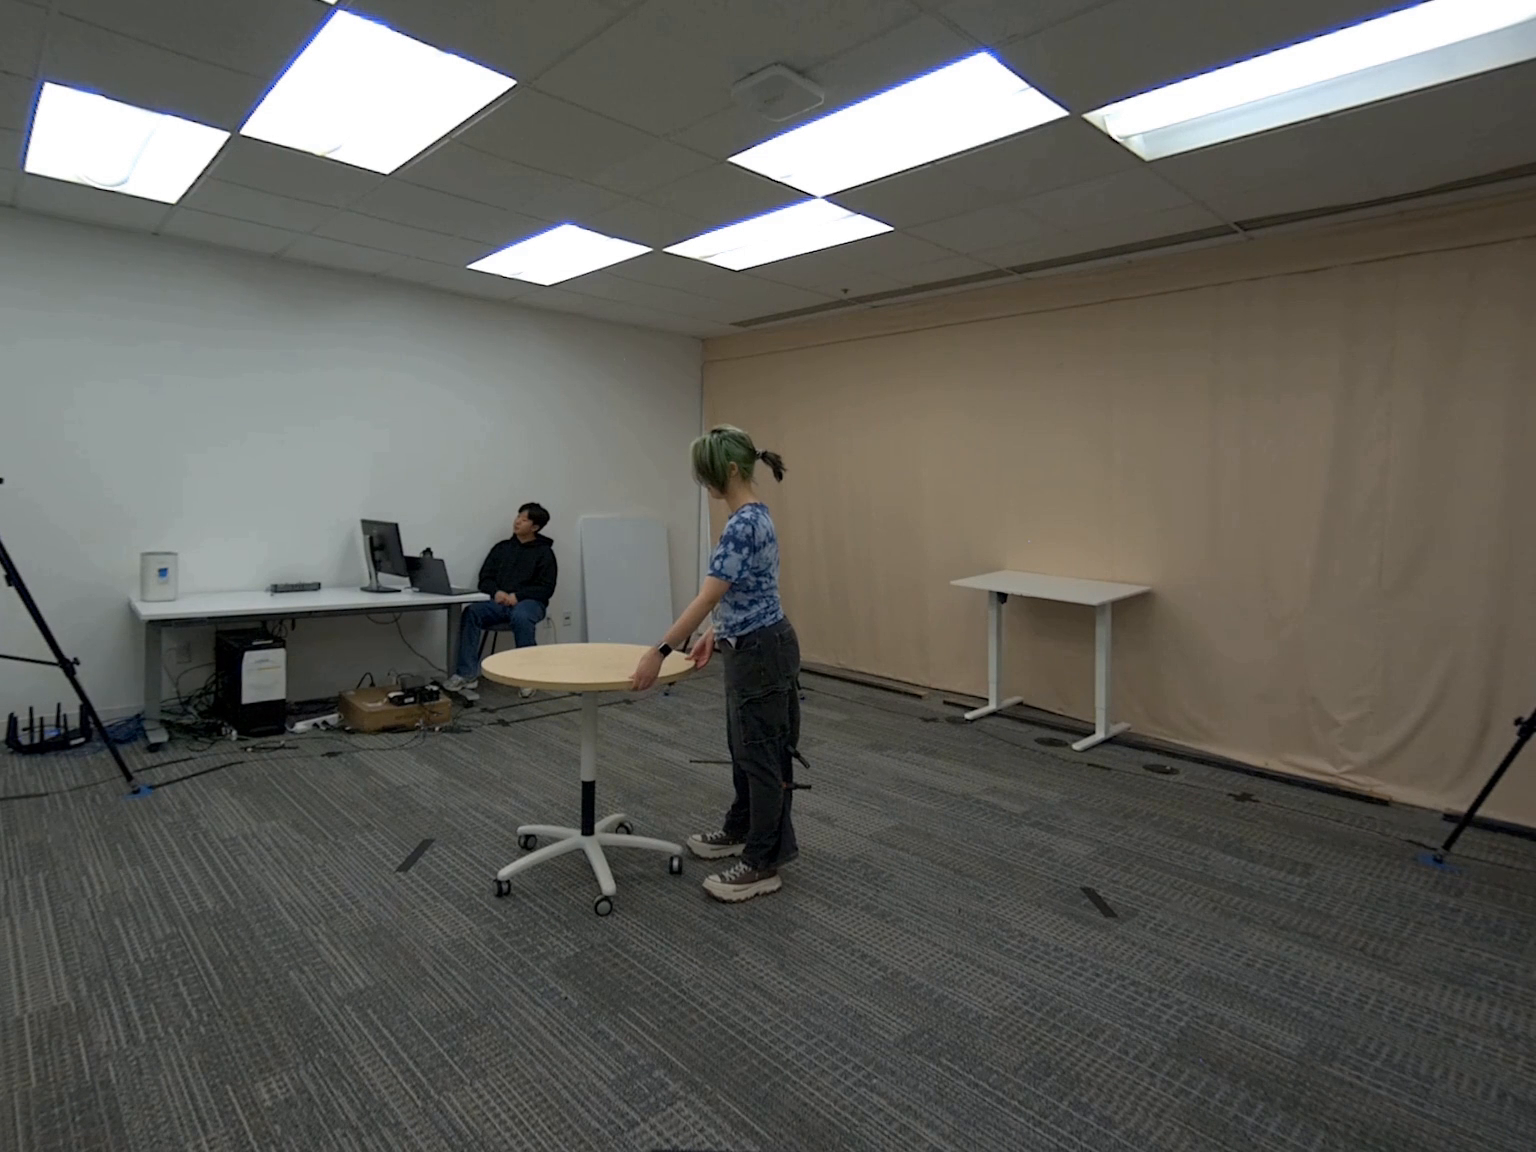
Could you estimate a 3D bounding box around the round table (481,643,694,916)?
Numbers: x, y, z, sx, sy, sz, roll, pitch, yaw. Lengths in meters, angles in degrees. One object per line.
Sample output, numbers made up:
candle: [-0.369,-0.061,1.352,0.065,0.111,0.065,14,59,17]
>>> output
round table: [-0.668,0.704,3.089,0.763,0.792,0.766,2,4,-1]
